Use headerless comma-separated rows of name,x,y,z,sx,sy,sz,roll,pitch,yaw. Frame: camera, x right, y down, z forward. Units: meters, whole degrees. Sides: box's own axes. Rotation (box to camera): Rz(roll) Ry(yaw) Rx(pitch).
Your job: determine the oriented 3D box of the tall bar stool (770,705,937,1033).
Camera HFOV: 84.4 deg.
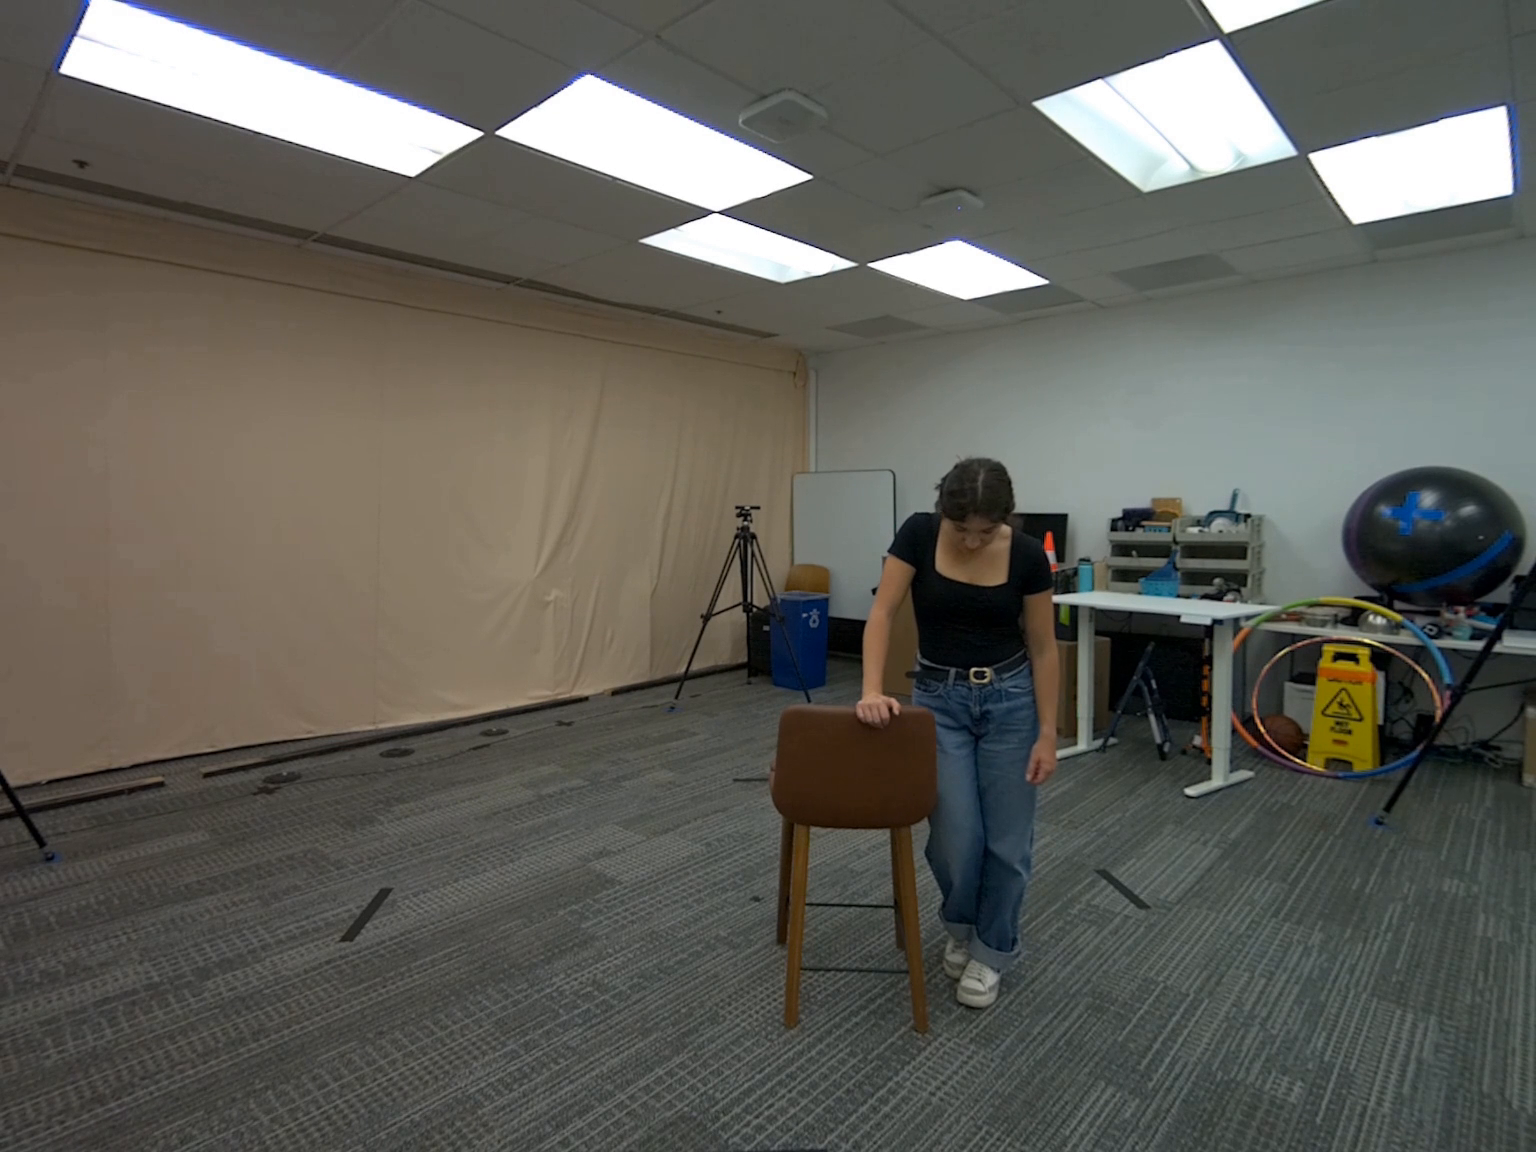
tall bar stool,0.236,0.756,2.423,0.458,0.887,0.468,1,5,1
